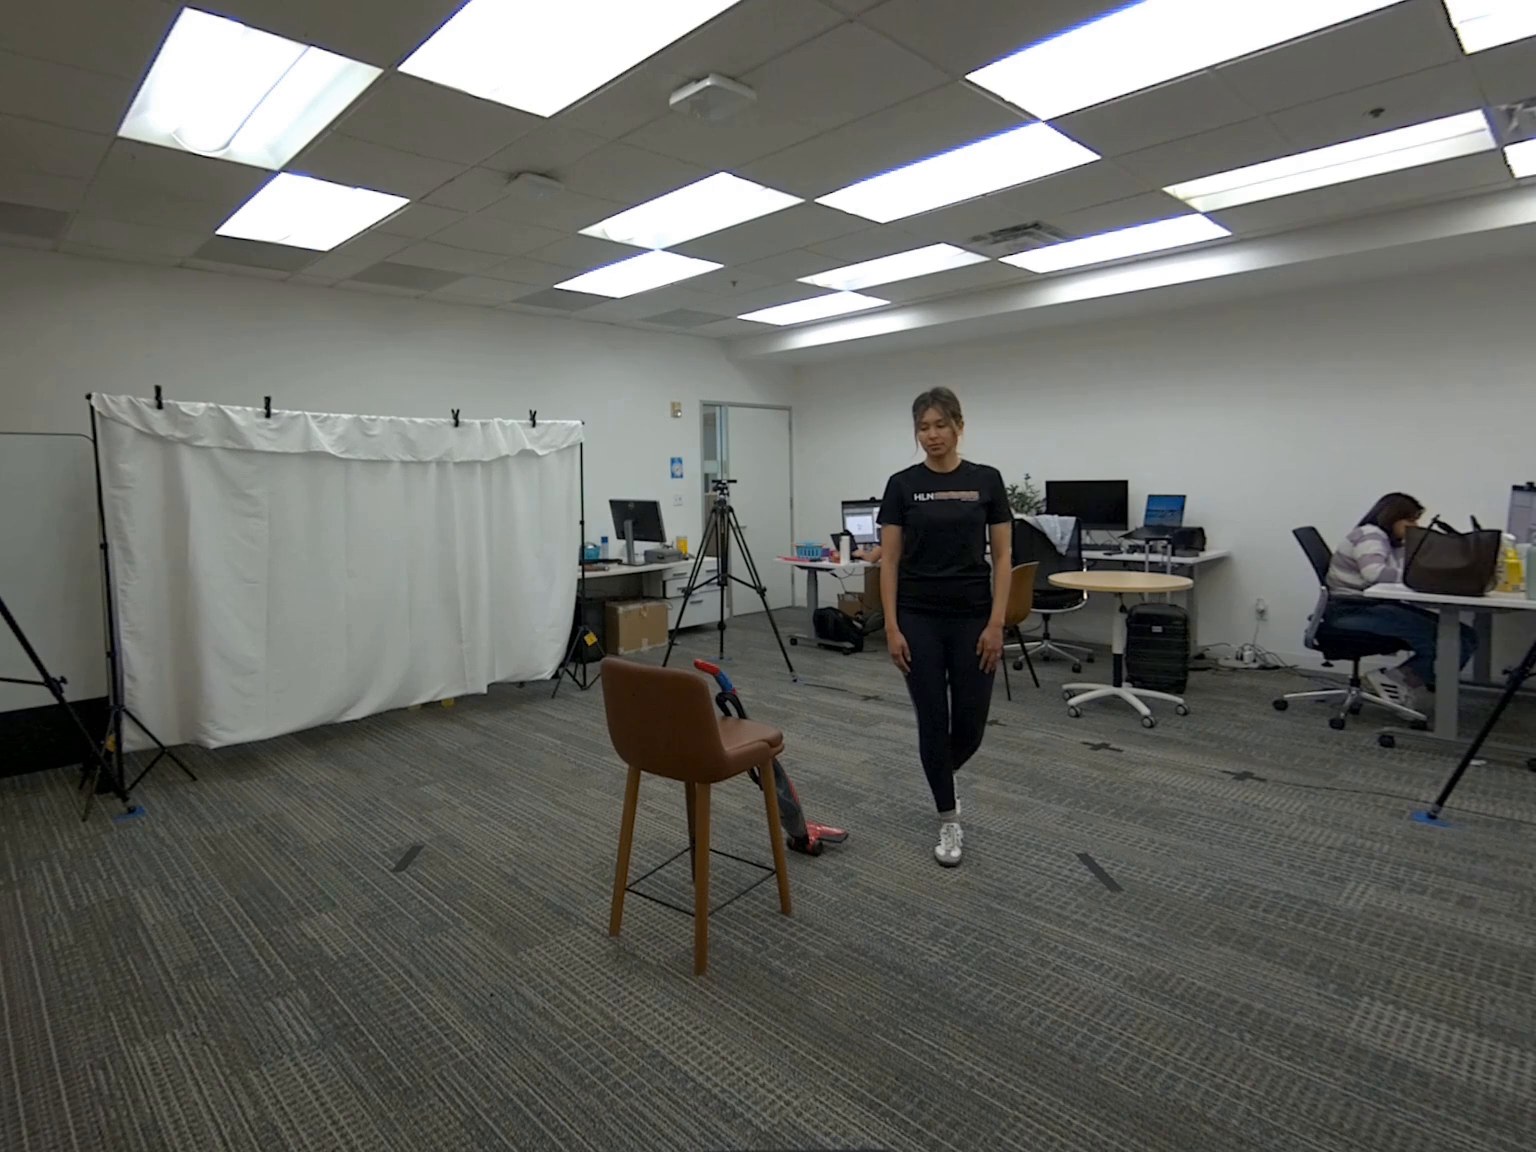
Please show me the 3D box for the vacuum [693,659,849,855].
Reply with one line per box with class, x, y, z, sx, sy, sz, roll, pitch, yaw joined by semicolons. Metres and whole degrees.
vacuum;-0.020;0.639;2.971;0.259;1.013;0.145;0;43;35
